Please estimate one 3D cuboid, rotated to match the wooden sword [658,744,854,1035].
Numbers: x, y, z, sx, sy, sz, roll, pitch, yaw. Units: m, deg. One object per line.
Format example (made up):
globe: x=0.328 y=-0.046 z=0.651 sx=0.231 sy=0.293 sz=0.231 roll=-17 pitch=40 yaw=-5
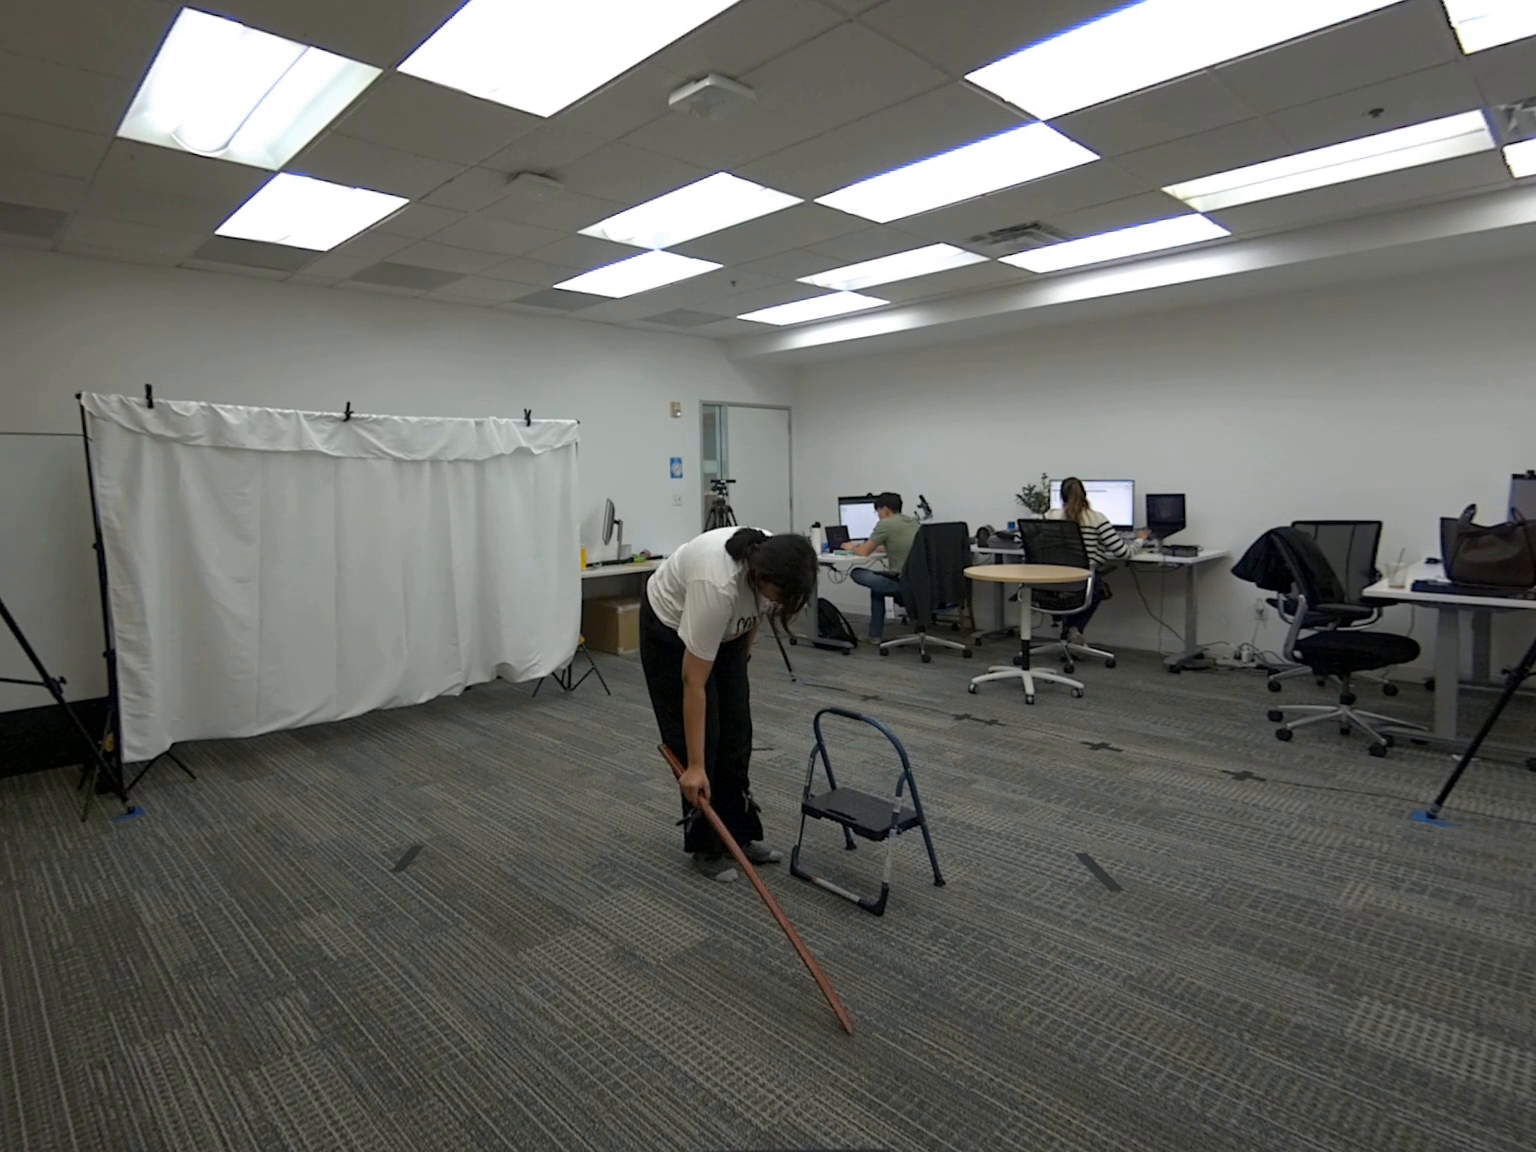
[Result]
wooden sword: x=-0.042 y=0.850 z=2.506 sx=0.050 sy=0.023 sz=1.066 roll=-12 pitch=38 yaw=-31
